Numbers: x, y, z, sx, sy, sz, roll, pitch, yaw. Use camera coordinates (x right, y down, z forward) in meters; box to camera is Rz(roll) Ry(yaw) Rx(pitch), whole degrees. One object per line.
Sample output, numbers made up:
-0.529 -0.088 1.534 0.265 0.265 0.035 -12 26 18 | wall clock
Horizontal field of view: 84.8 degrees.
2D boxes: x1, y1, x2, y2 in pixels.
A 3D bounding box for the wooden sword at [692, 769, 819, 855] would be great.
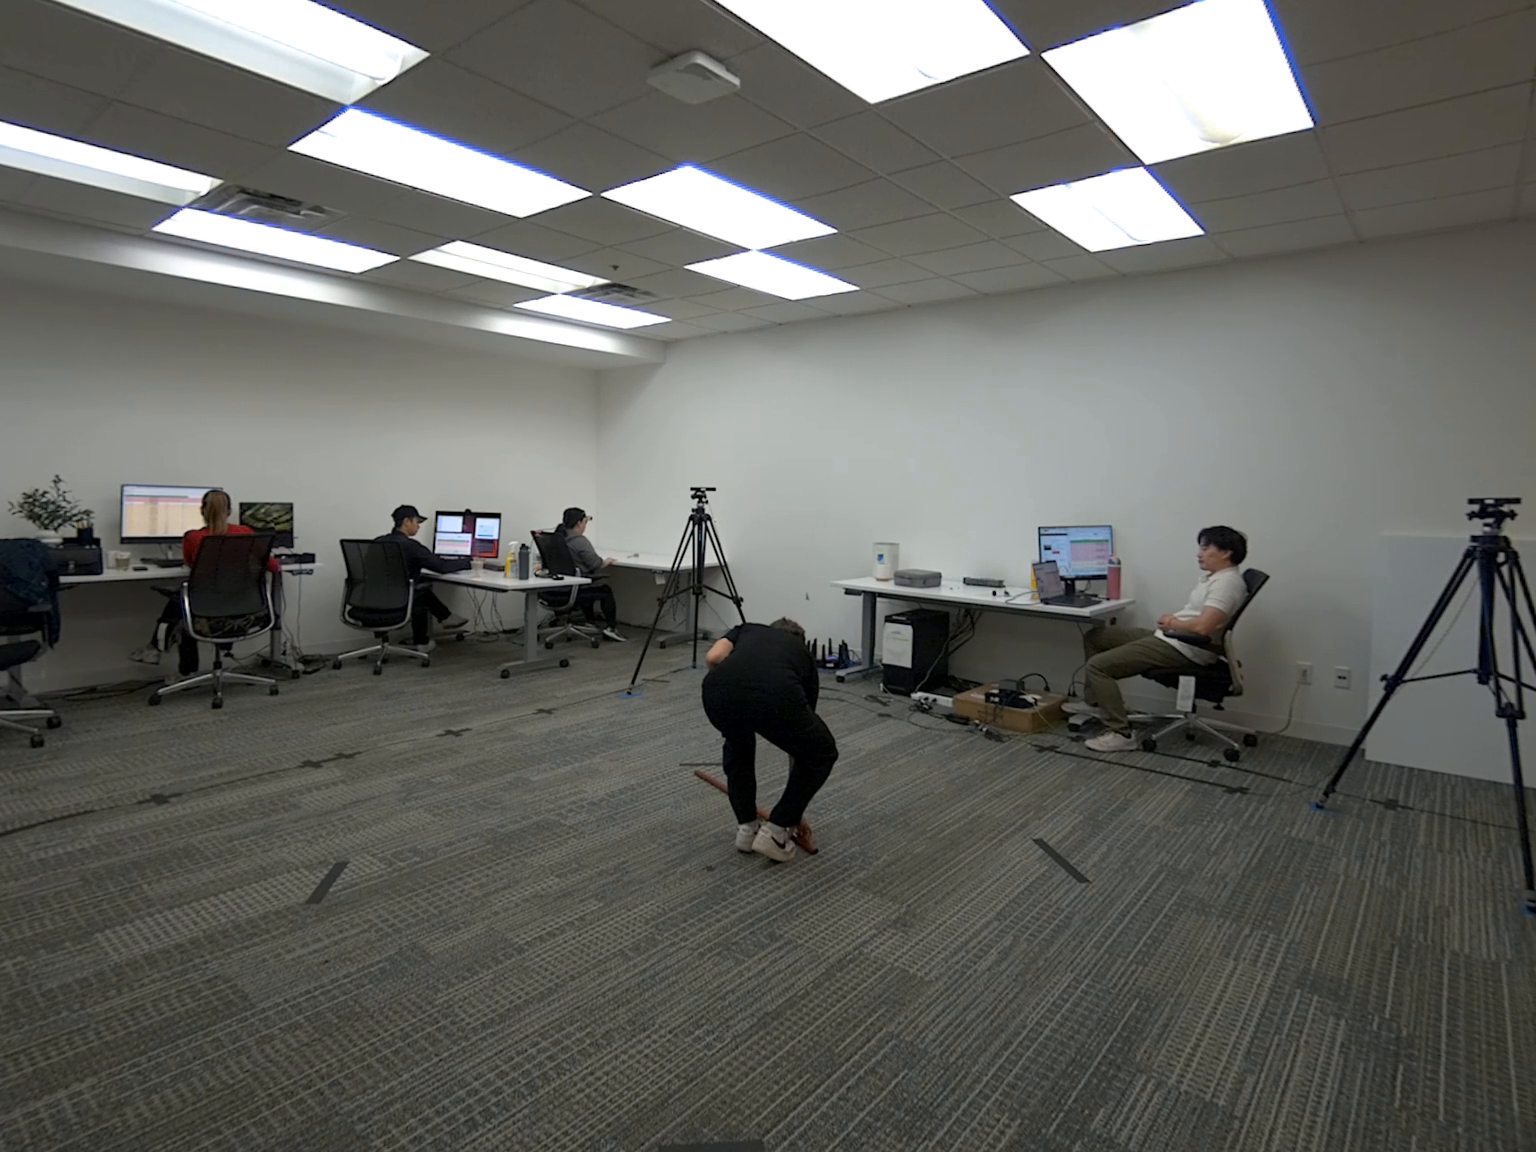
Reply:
-0.093 0.986 3.703 0.050 0.024 1.055 1 4 -30 | wooden sword
